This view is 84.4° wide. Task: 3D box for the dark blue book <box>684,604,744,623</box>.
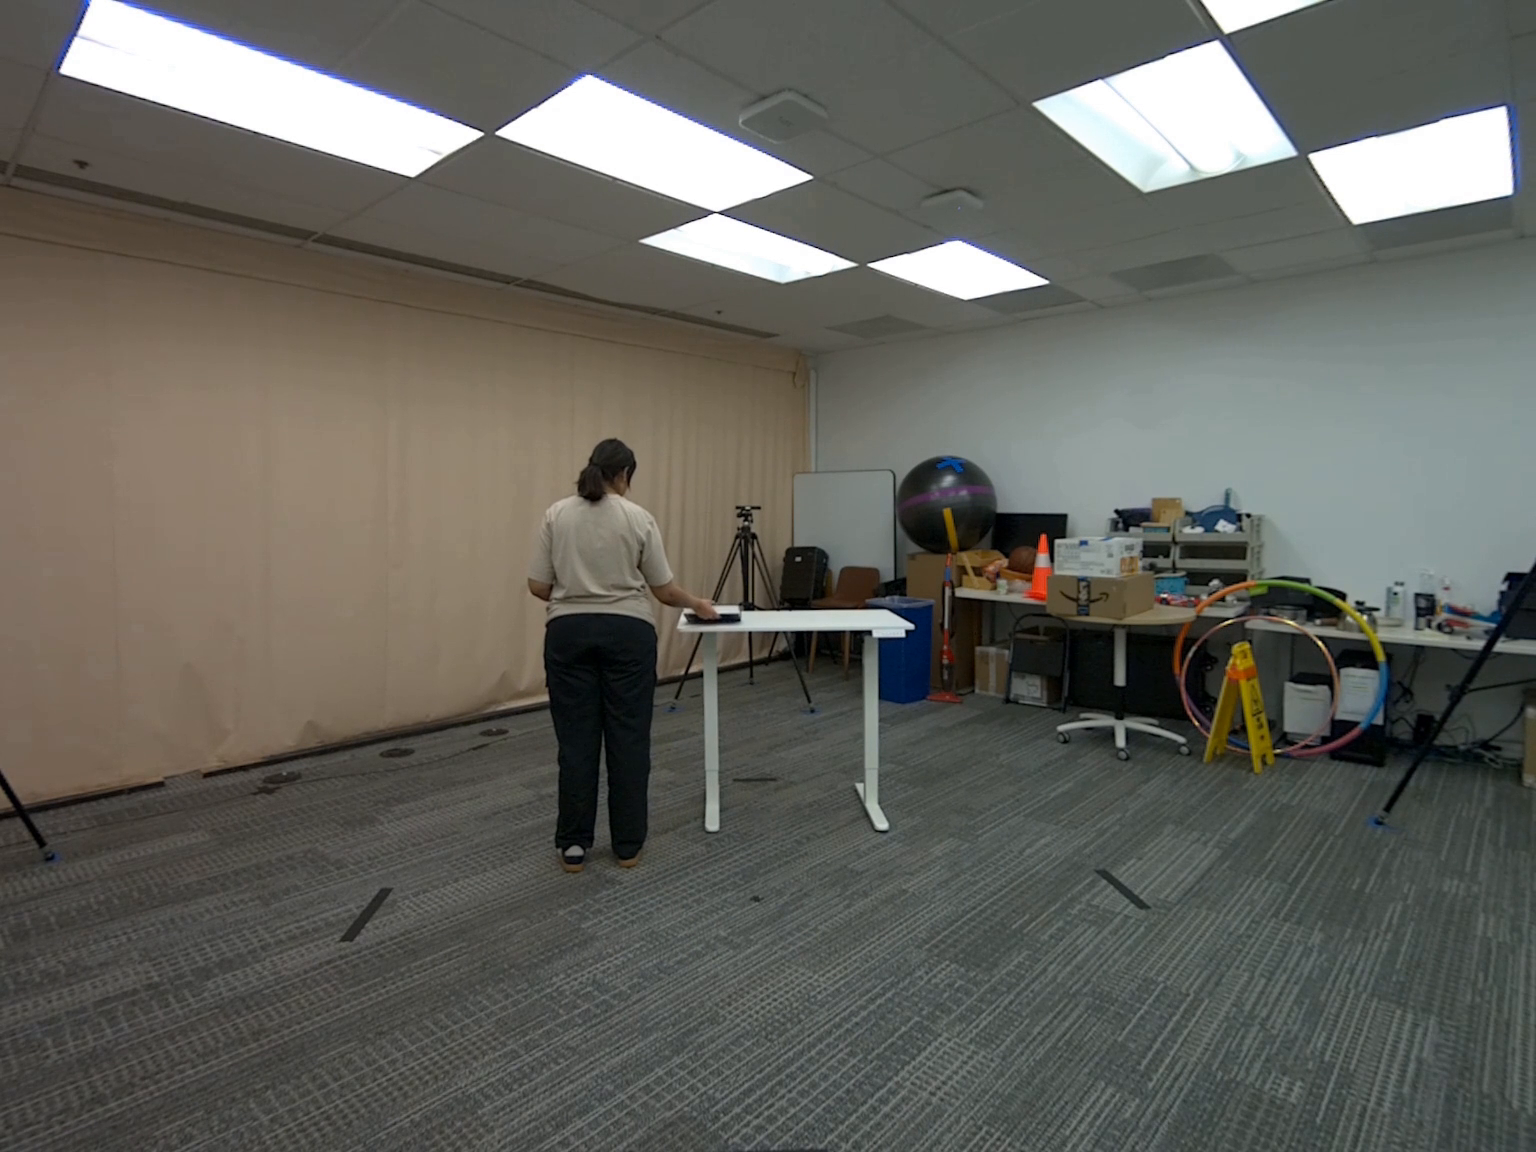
[{"bbox_3d":[-0.237,0.163,3.714,0.246,0.045,0.161,1,-13,5],"label":"dark blue book"}]
